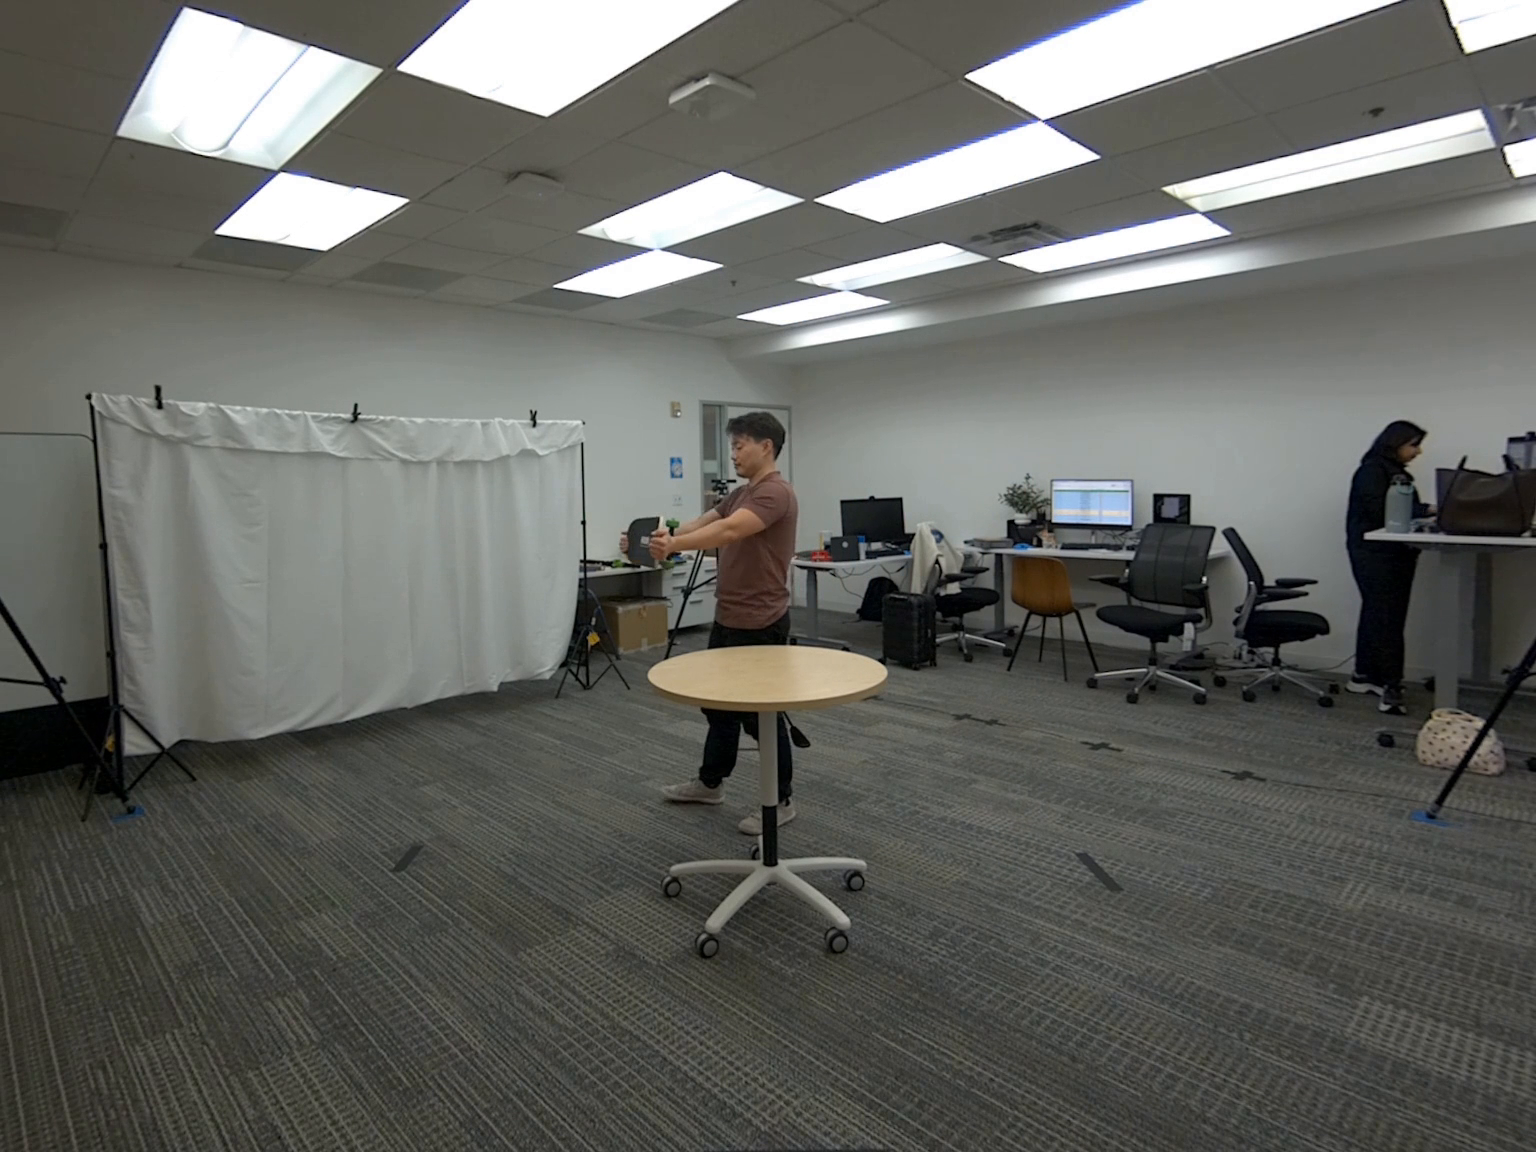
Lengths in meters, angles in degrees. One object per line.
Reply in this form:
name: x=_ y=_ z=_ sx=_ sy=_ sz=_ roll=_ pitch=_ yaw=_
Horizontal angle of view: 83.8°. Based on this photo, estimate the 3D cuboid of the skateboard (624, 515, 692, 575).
skateboard: x=-0.449 y=-0.131 z=3.373 sx=0.108 sy=0.193 sz=0.798 roll=10 pitch=0 yaw=-17
